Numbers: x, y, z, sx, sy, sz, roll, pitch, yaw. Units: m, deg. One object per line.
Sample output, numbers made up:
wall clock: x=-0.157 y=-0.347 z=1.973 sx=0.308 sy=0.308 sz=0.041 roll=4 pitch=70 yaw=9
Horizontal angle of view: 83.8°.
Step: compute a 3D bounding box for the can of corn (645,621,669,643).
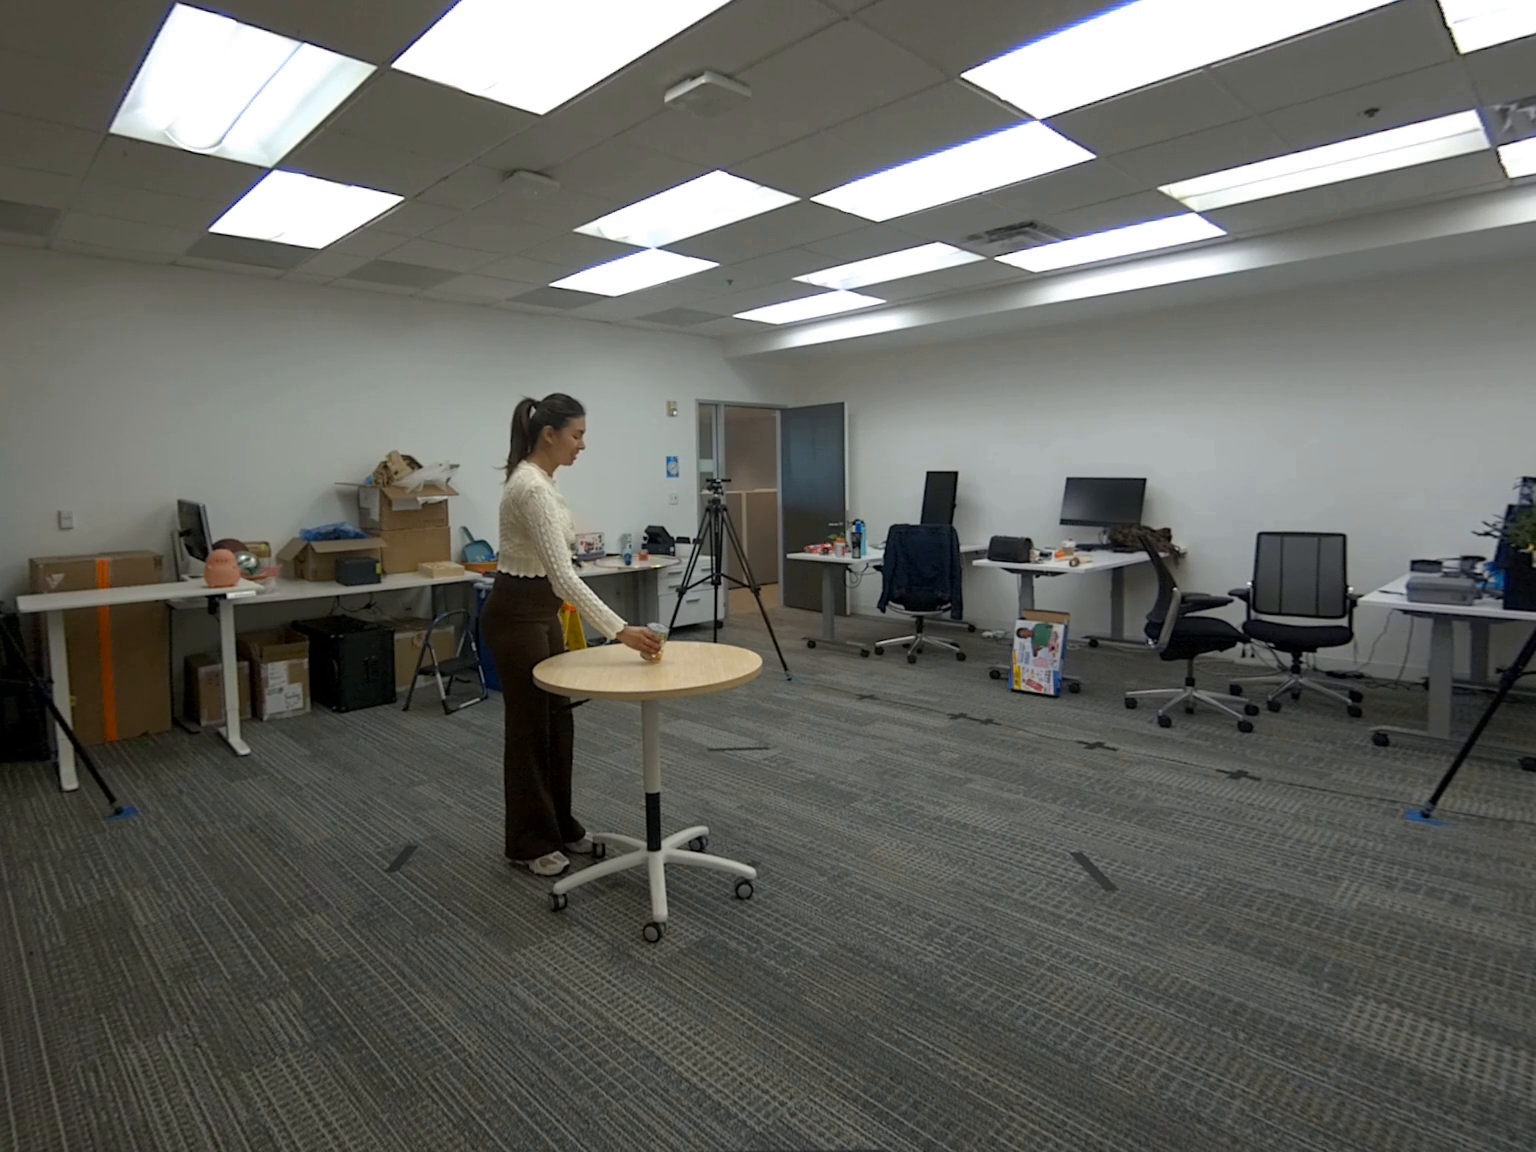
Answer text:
can of corn: x=-0.386 y=0.227 z=2.868 sx=0.074 sy=0.110 sz=0.075 roll=8 pitch=12 yaw=-3
